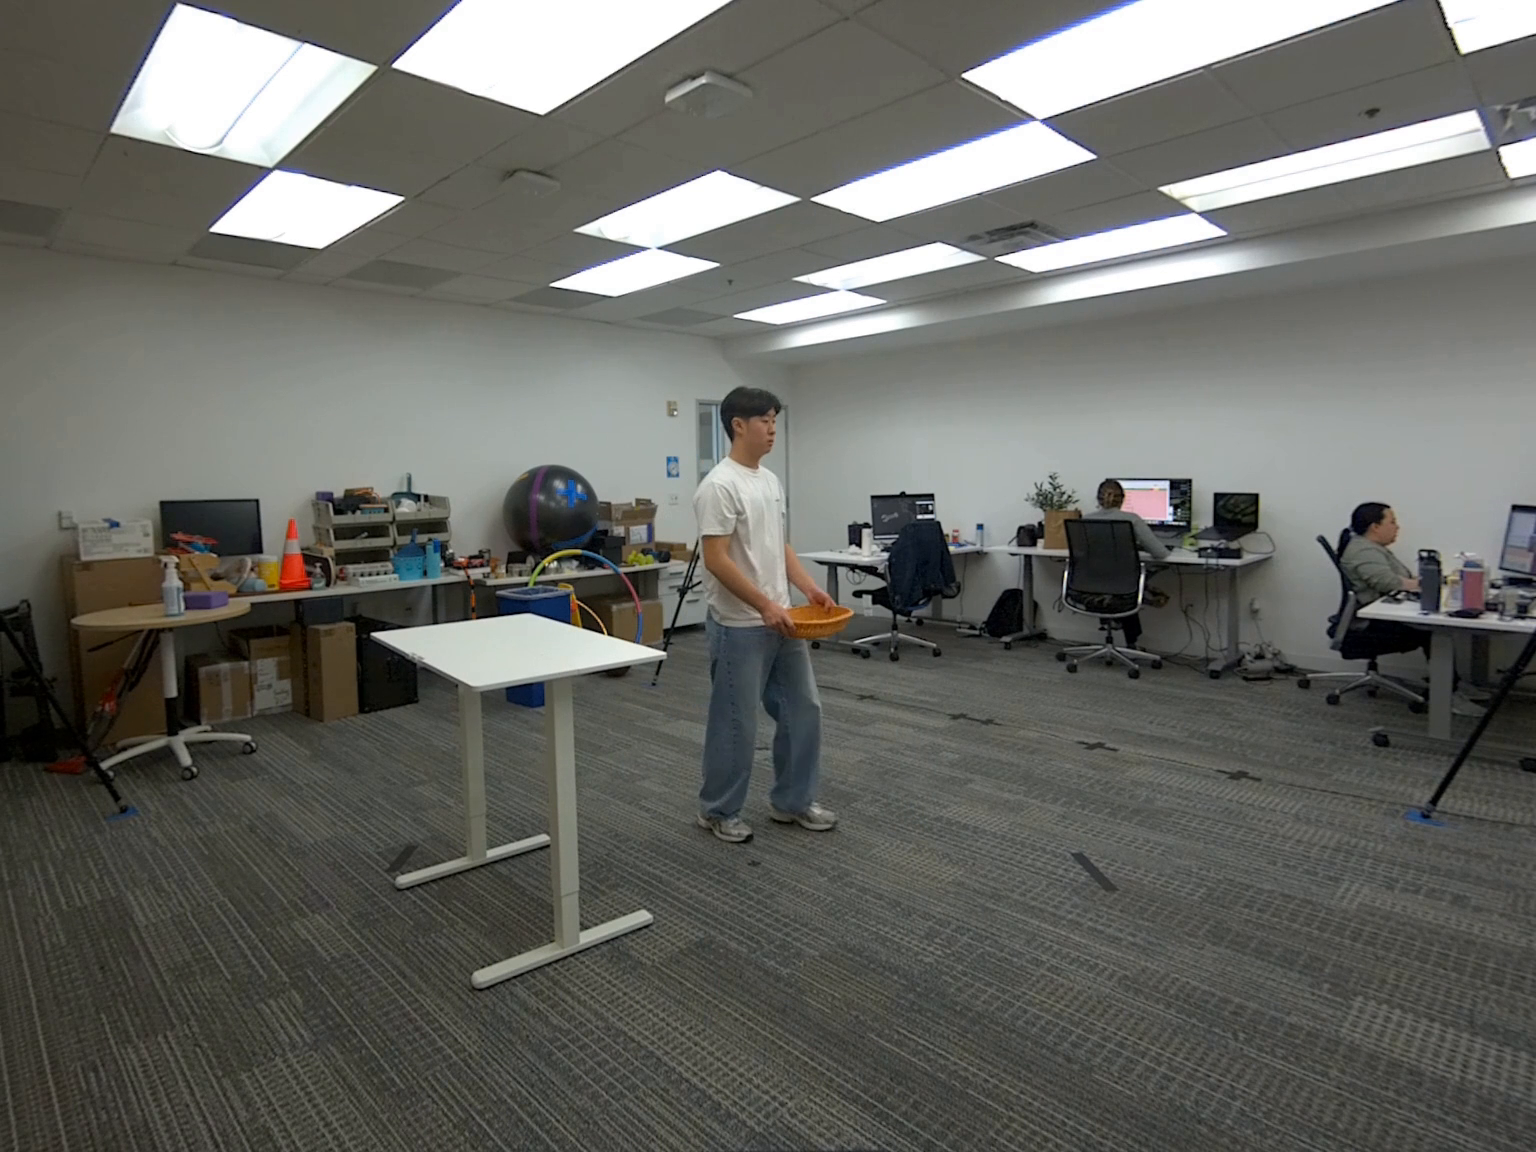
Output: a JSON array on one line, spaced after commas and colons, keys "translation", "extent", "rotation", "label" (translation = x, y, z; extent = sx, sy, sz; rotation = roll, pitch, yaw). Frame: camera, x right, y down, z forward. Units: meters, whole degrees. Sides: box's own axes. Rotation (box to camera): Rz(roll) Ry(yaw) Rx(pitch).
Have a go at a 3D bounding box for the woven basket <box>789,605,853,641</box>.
[{"translation": [0.147, 0.176, 3.208], "extent": [0.260, 0.073, 0.341], "rotation": [8, 12, 43], "label": "woven basket"}]
